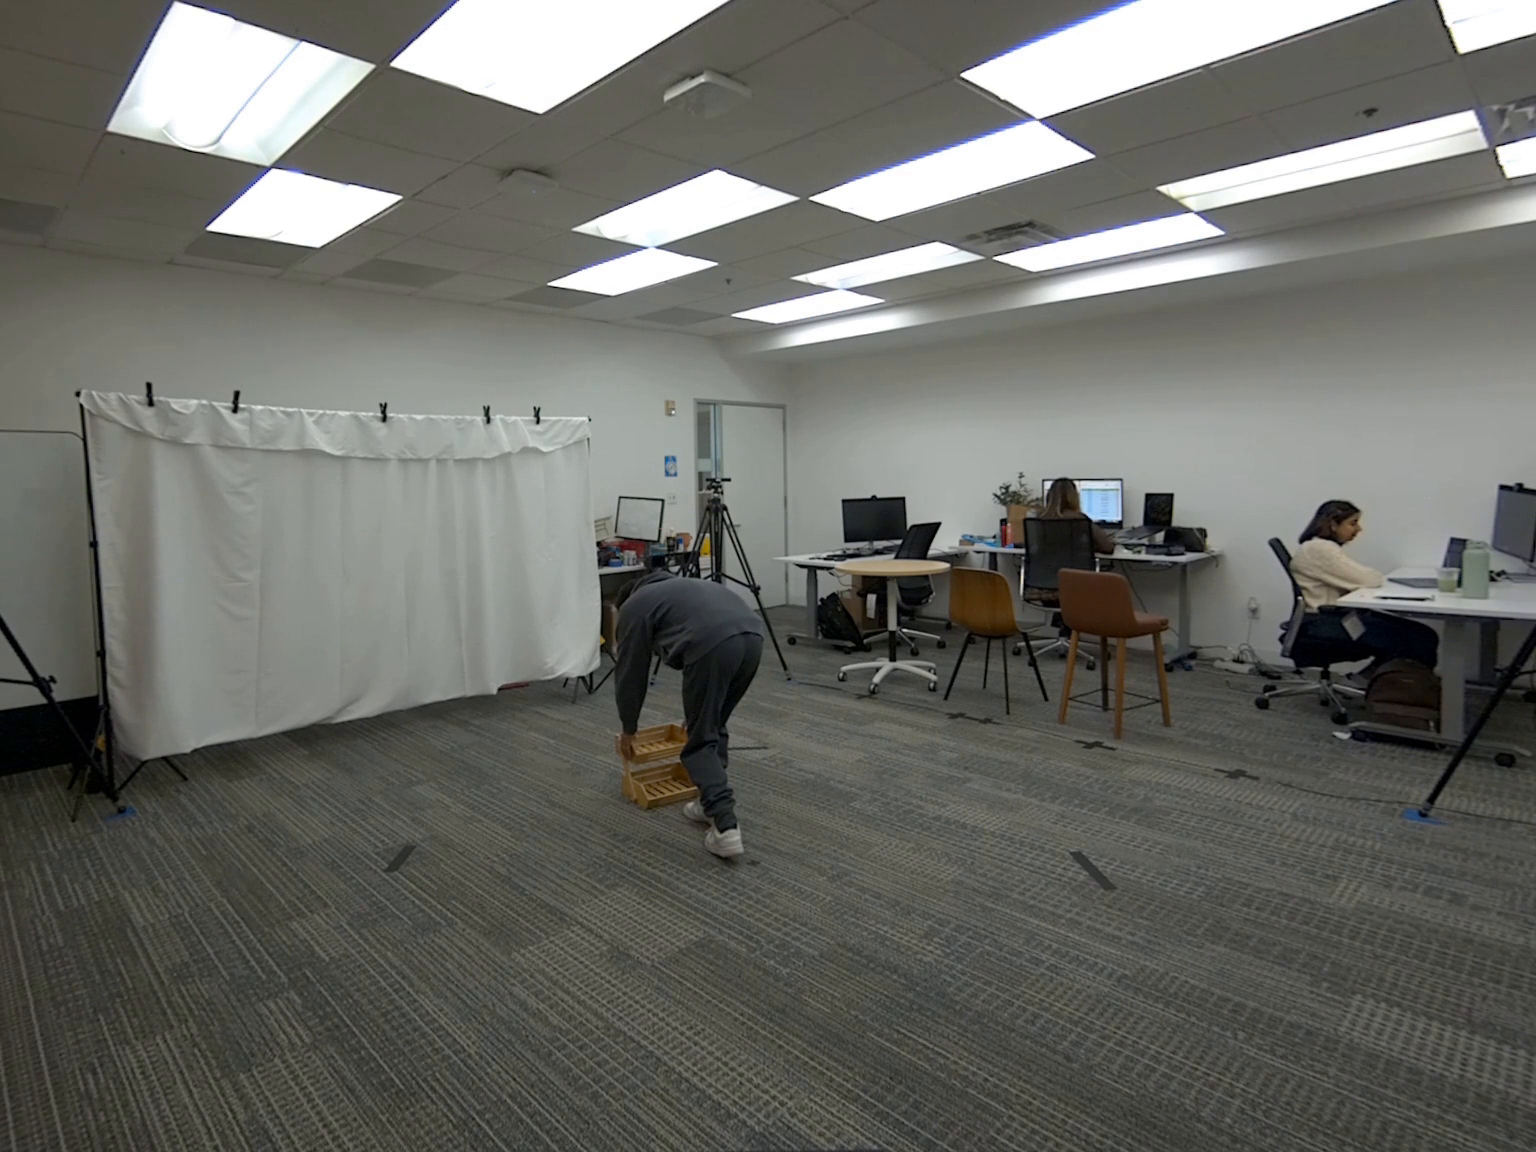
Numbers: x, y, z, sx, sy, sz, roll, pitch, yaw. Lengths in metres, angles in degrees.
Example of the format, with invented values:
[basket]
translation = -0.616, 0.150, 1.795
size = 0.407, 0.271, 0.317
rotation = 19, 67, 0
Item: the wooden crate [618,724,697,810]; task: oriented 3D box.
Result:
[wooden crate]
translation = -0.478, 0.834, 3.819
size = 0.316, 0.272, 0.311
rotation = -4, 5, -35
